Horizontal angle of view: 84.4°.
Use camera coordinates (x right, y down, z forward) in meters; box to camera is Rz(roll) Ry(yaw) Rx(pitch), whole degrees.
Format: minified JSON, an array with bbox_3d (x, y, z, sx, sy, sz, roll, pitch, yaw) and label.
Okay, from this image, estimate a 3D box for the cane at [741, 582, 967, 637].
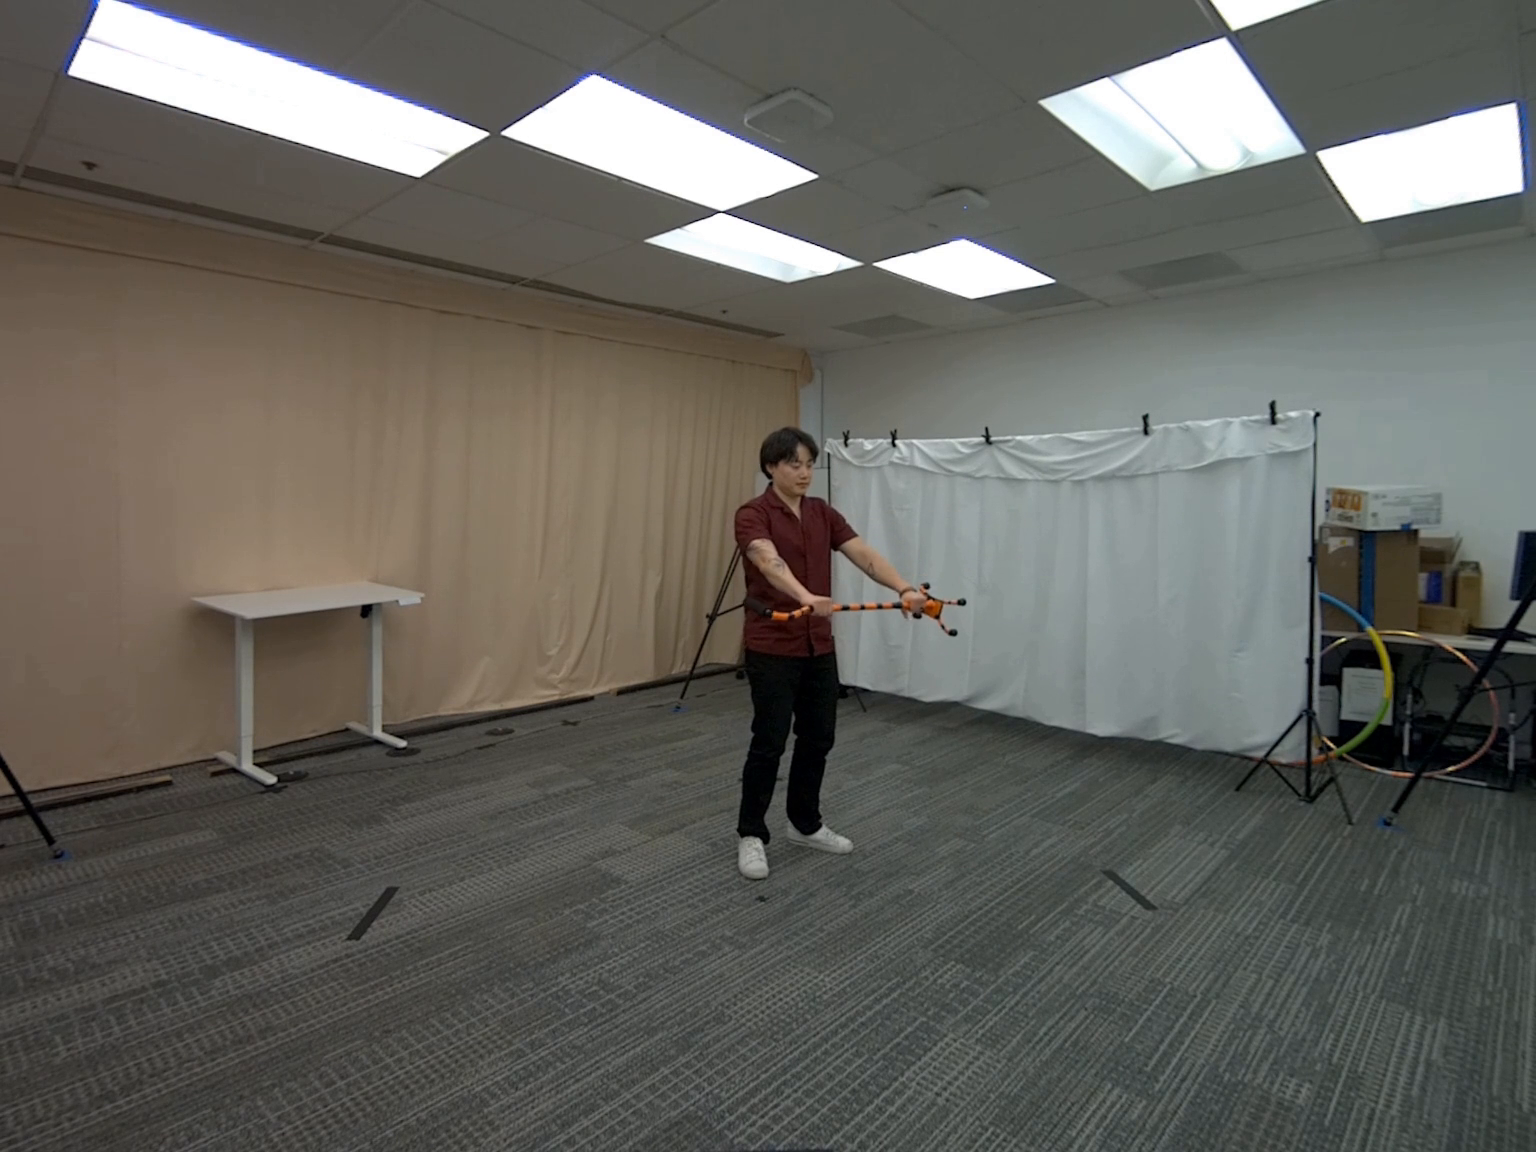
[{"bbox_3d":[0.316,0.122,2.940,0.880,0.151,0.214,0,20,-37],"label":"cane"}]
